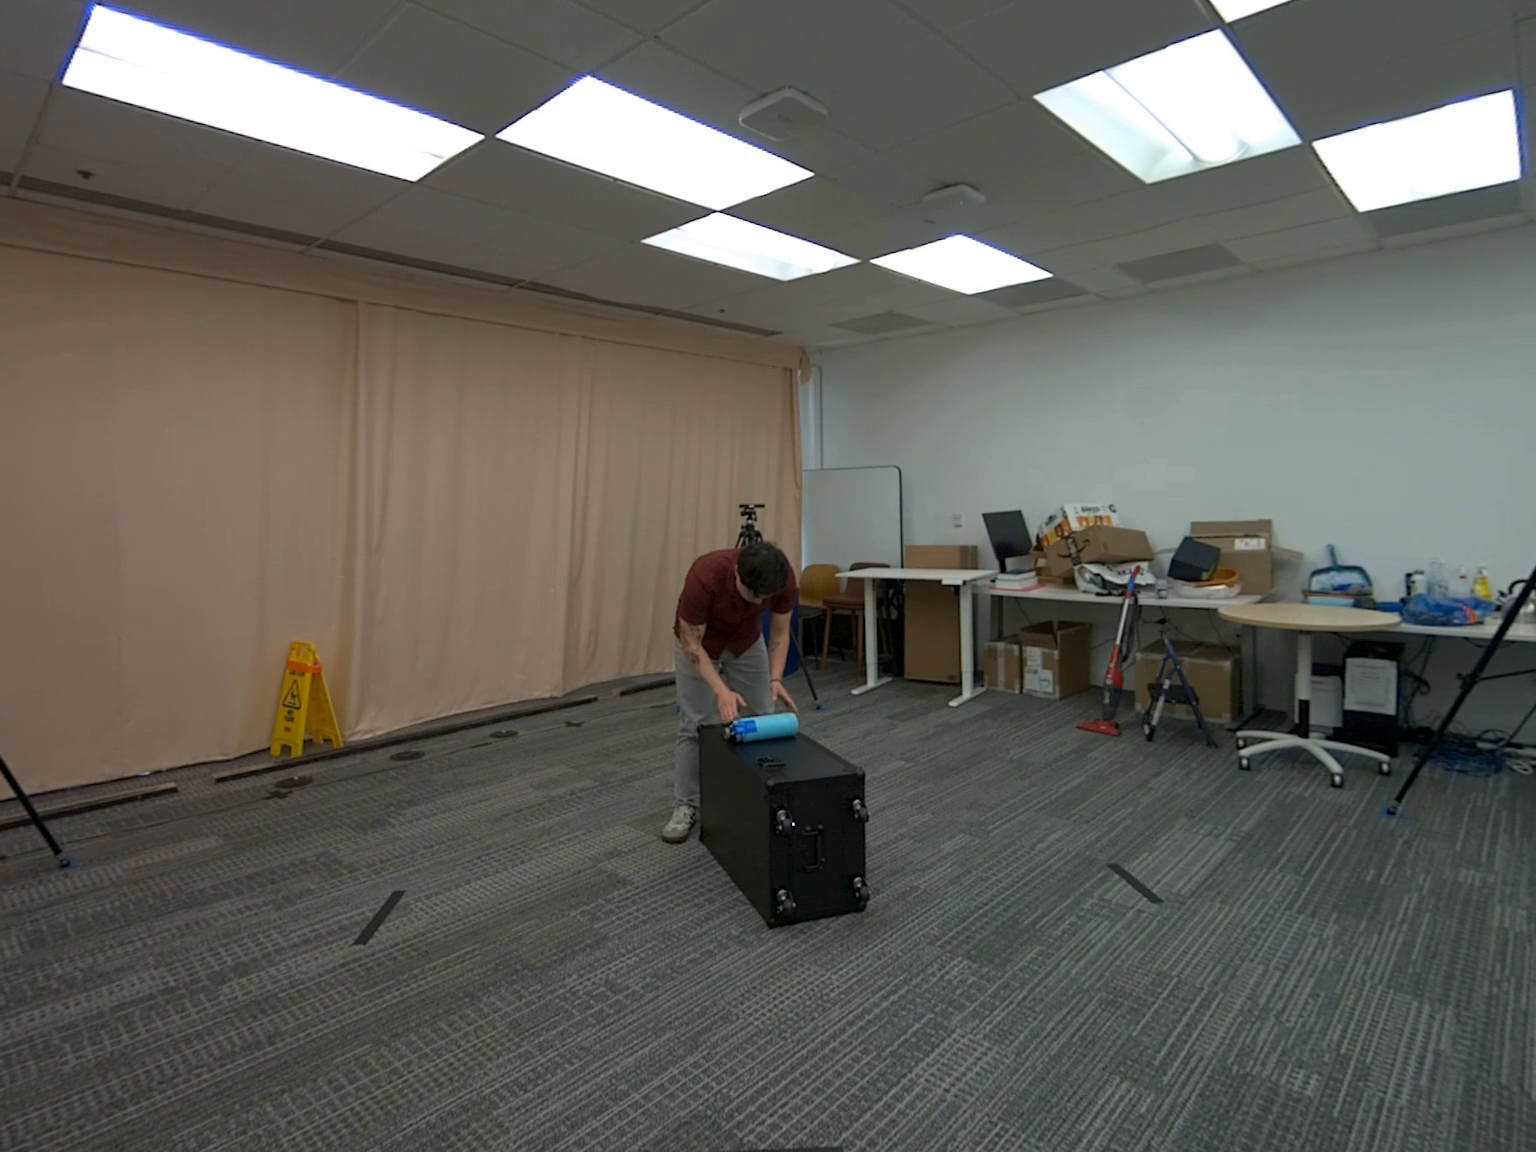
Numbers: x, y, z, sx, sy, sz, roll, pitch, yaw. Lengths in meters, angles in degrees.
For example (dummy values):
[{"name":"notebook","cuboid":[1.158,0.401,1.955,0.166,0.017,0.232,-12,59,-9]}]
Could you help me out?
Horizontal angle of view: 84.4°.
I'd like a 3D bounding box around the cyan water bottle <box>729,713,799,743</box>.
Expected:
[{"name":"cyan water bottle","cuboid":[-0.022,0.584,3.261,0.278,0.092,0.094,-3,4,-20]}]
